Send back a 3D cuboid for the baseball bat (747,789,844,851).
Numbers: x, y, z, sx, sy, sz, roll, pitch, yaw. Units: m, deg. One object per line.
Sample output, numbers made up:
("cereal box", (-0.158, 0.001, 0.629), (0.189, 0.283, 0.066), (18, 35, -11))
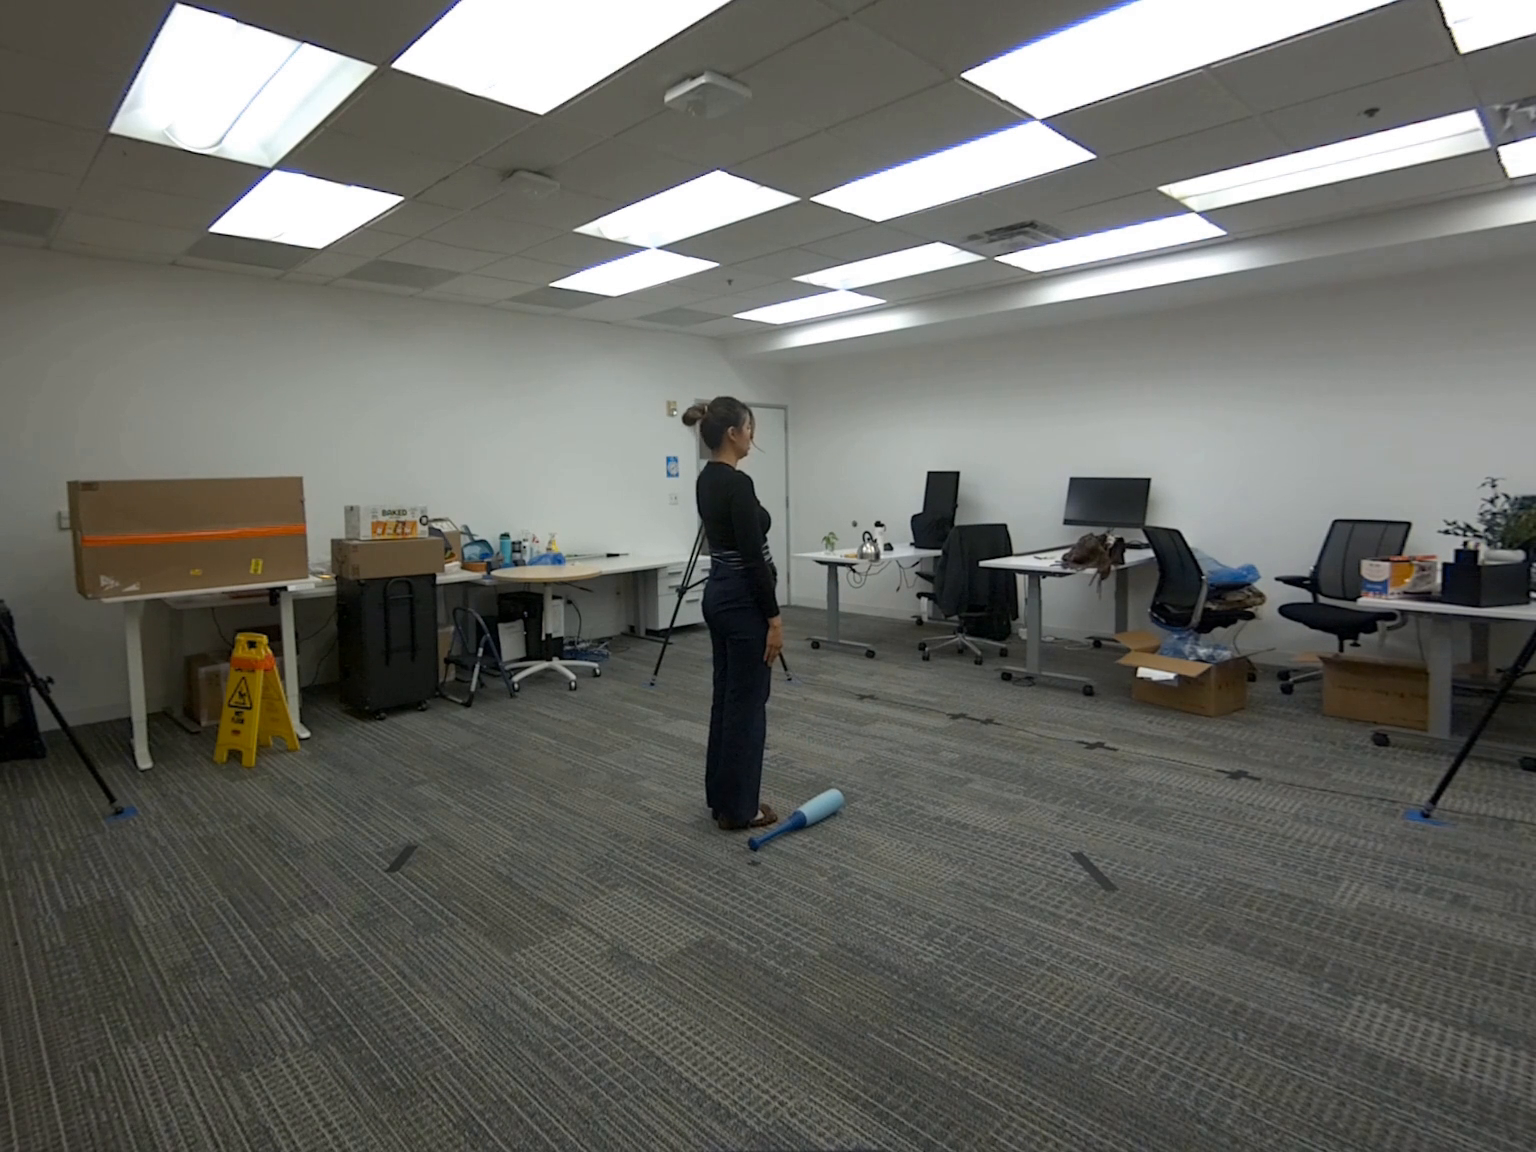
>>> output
("baseball bat", (0.113, 0.973, 3.392), (0.092, 0.088, 0.530), (3, 11, 42))
